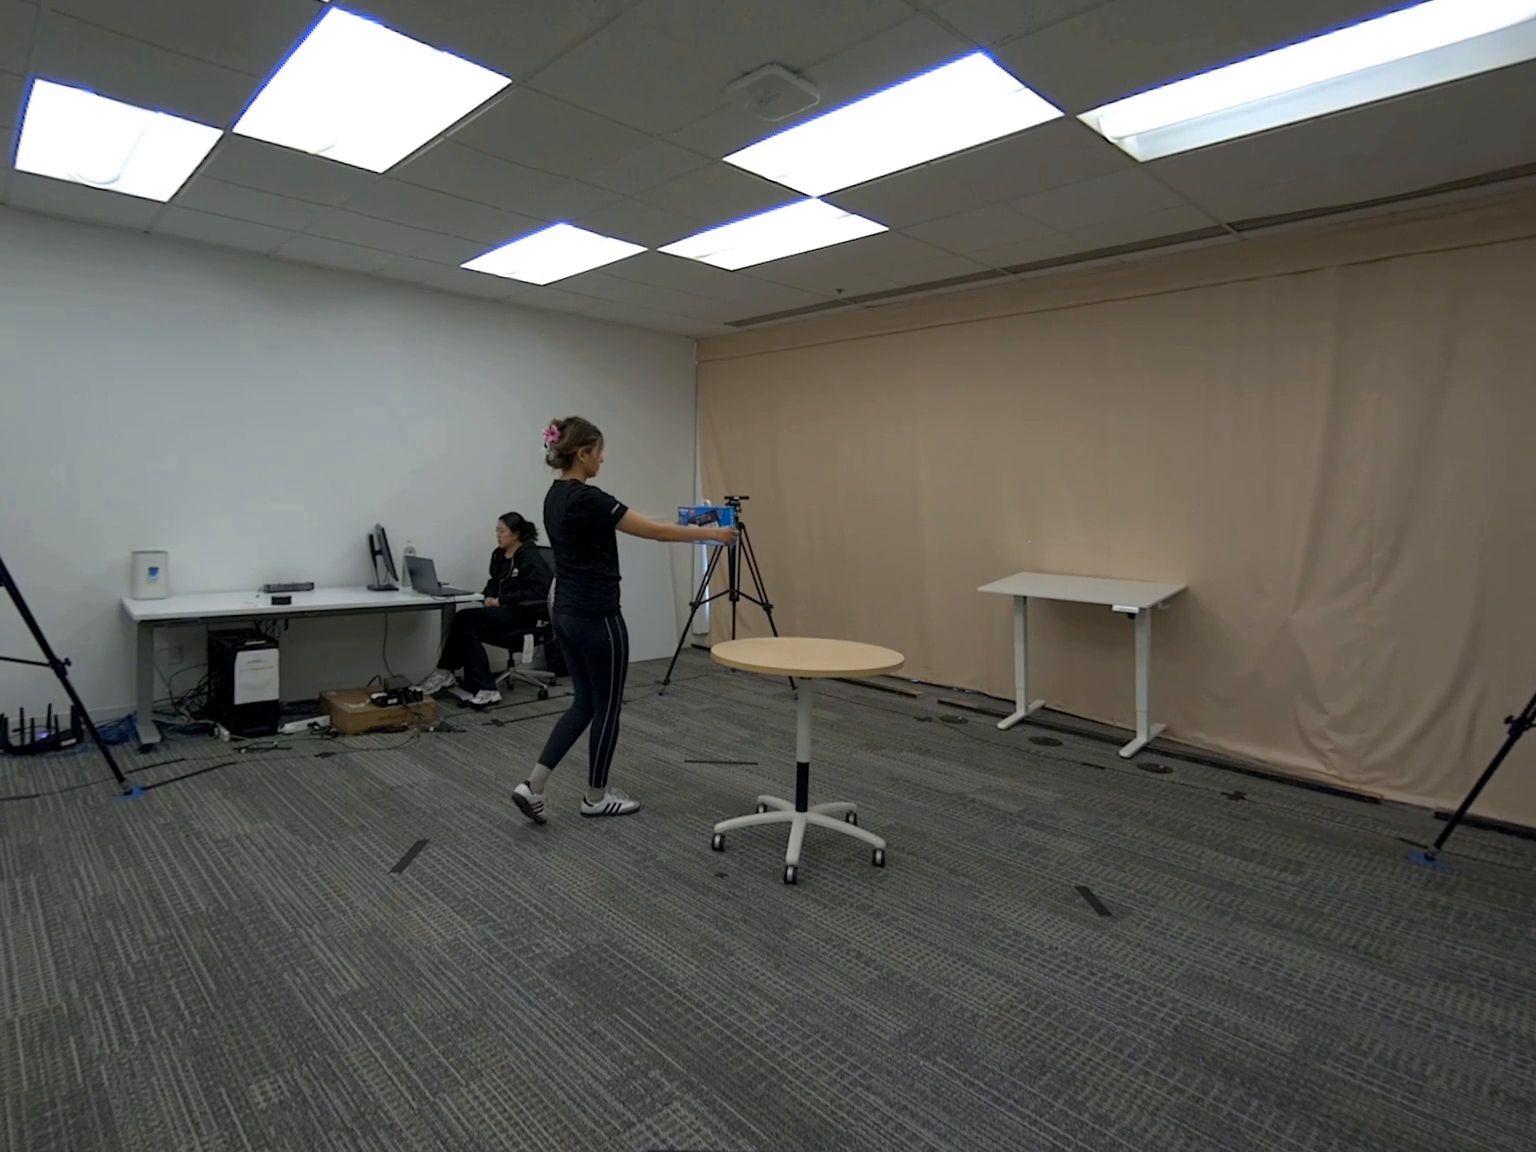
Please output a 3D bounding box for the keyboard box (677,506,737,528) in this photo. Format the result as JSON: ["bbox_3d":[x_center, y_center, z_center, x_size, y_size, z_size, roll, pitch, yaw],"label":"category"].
[{"bbox_3d":[-0.297,-0.232,3.865,0.058,0.175,0.447,-4,6,-31],"label":"keyboard box"}]
